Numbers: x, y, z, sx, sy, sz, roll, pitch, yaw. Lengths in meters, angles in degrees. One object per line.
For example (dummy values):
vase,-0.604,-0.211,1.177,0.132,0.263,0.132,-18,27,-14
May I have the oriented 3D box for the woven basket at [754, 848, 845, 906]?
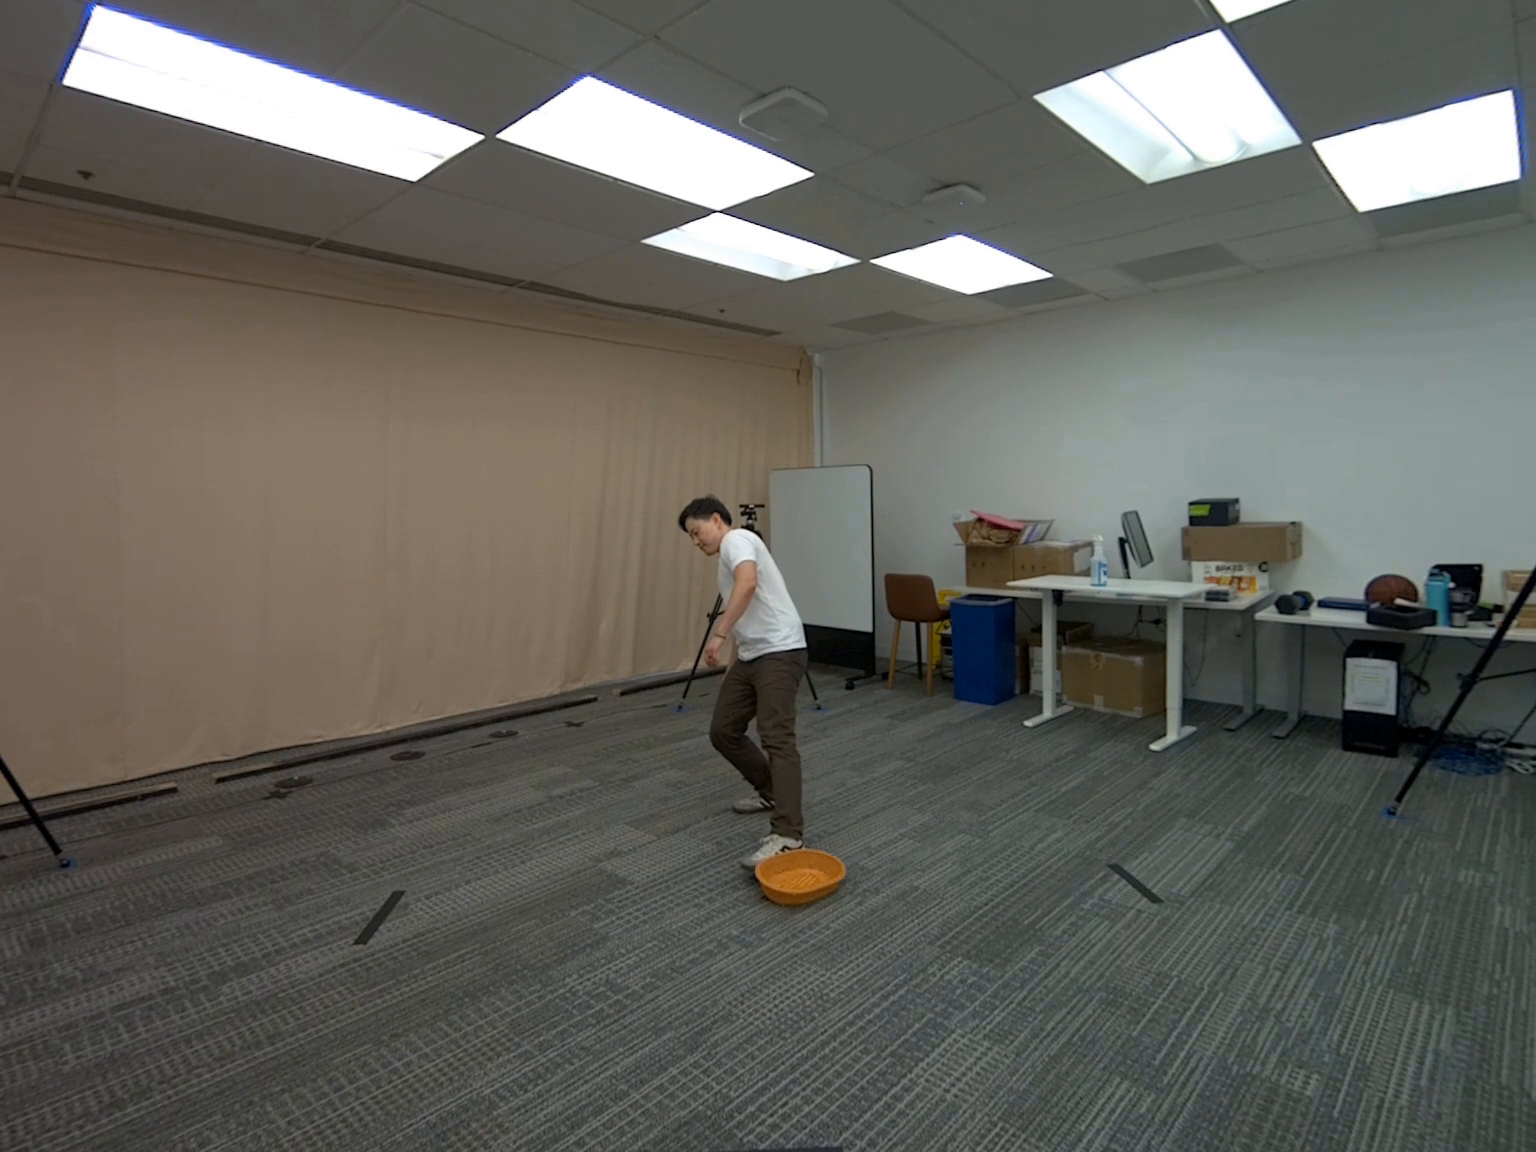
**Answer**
woven basket,0.119,1.082,3.022,0.340,0.073,0.261,-3,13,-33
